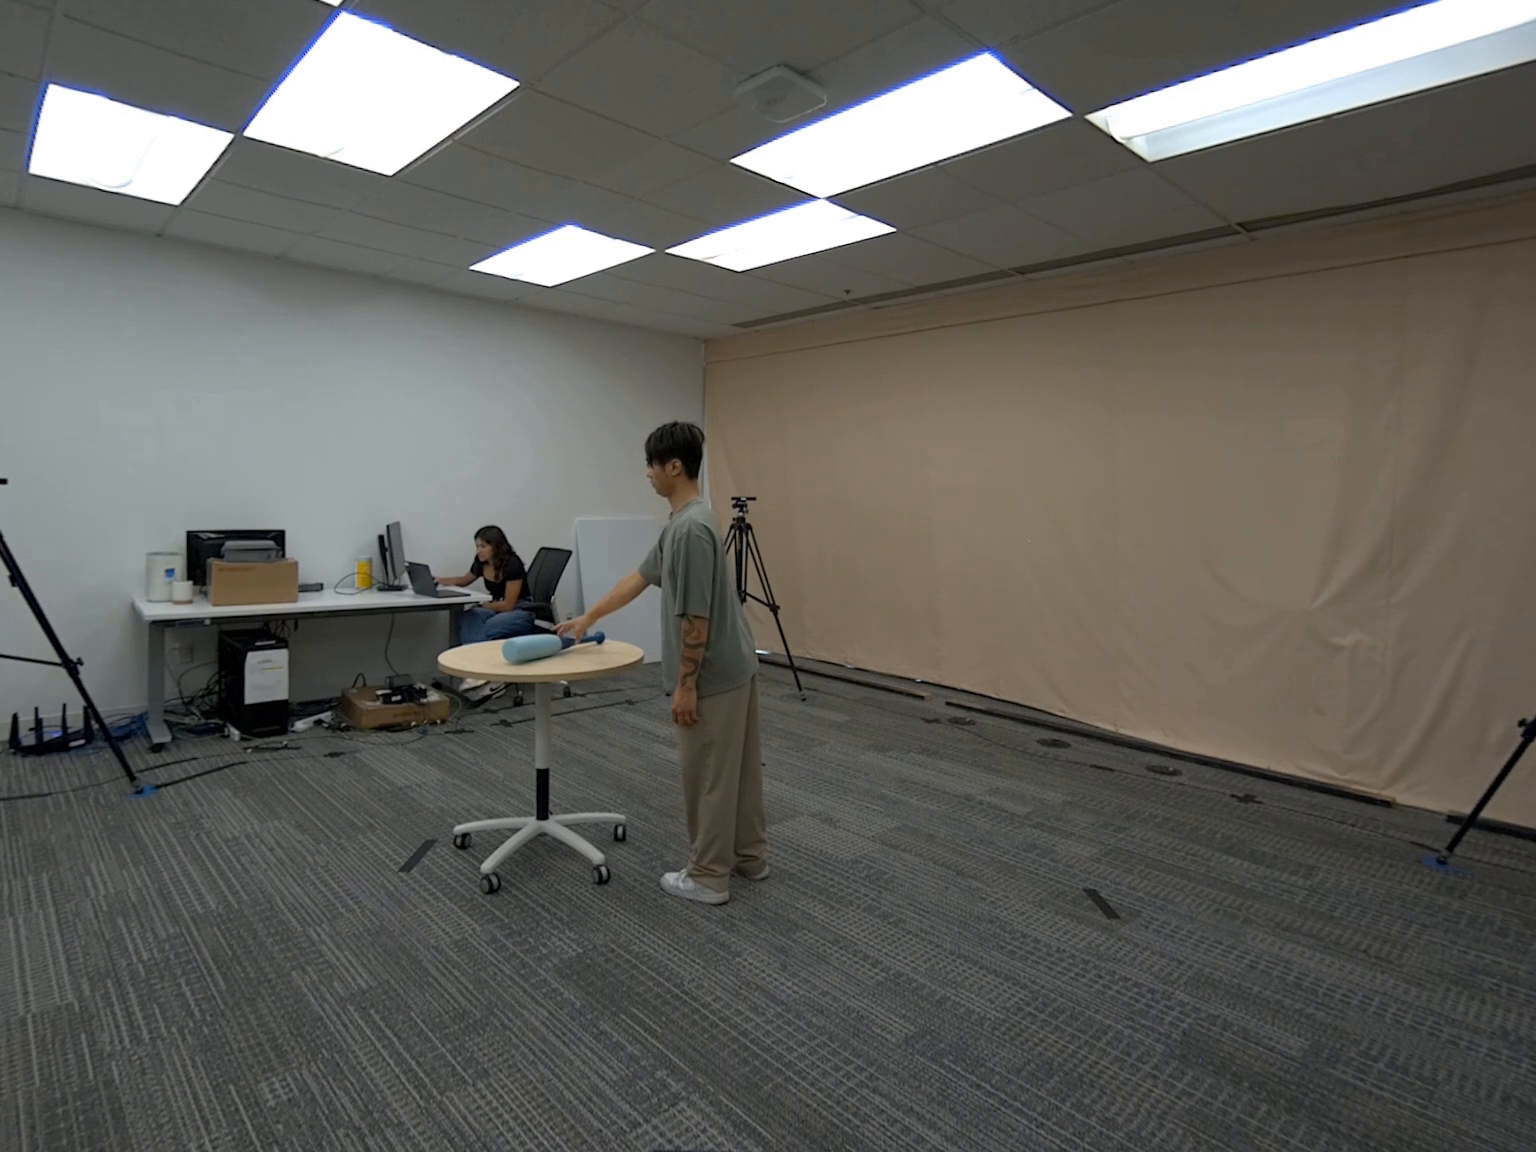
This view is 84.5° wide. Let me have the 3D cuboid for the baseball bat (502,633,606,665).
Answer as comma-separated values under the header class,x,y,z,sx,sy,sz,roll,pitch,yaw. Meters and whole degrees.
class,x,y,z,sx,sy,sz,roll,pitch,yaw
baseball bat,-0.805,0.261,3.224,0.091,0.089,0.533,3,2,25
